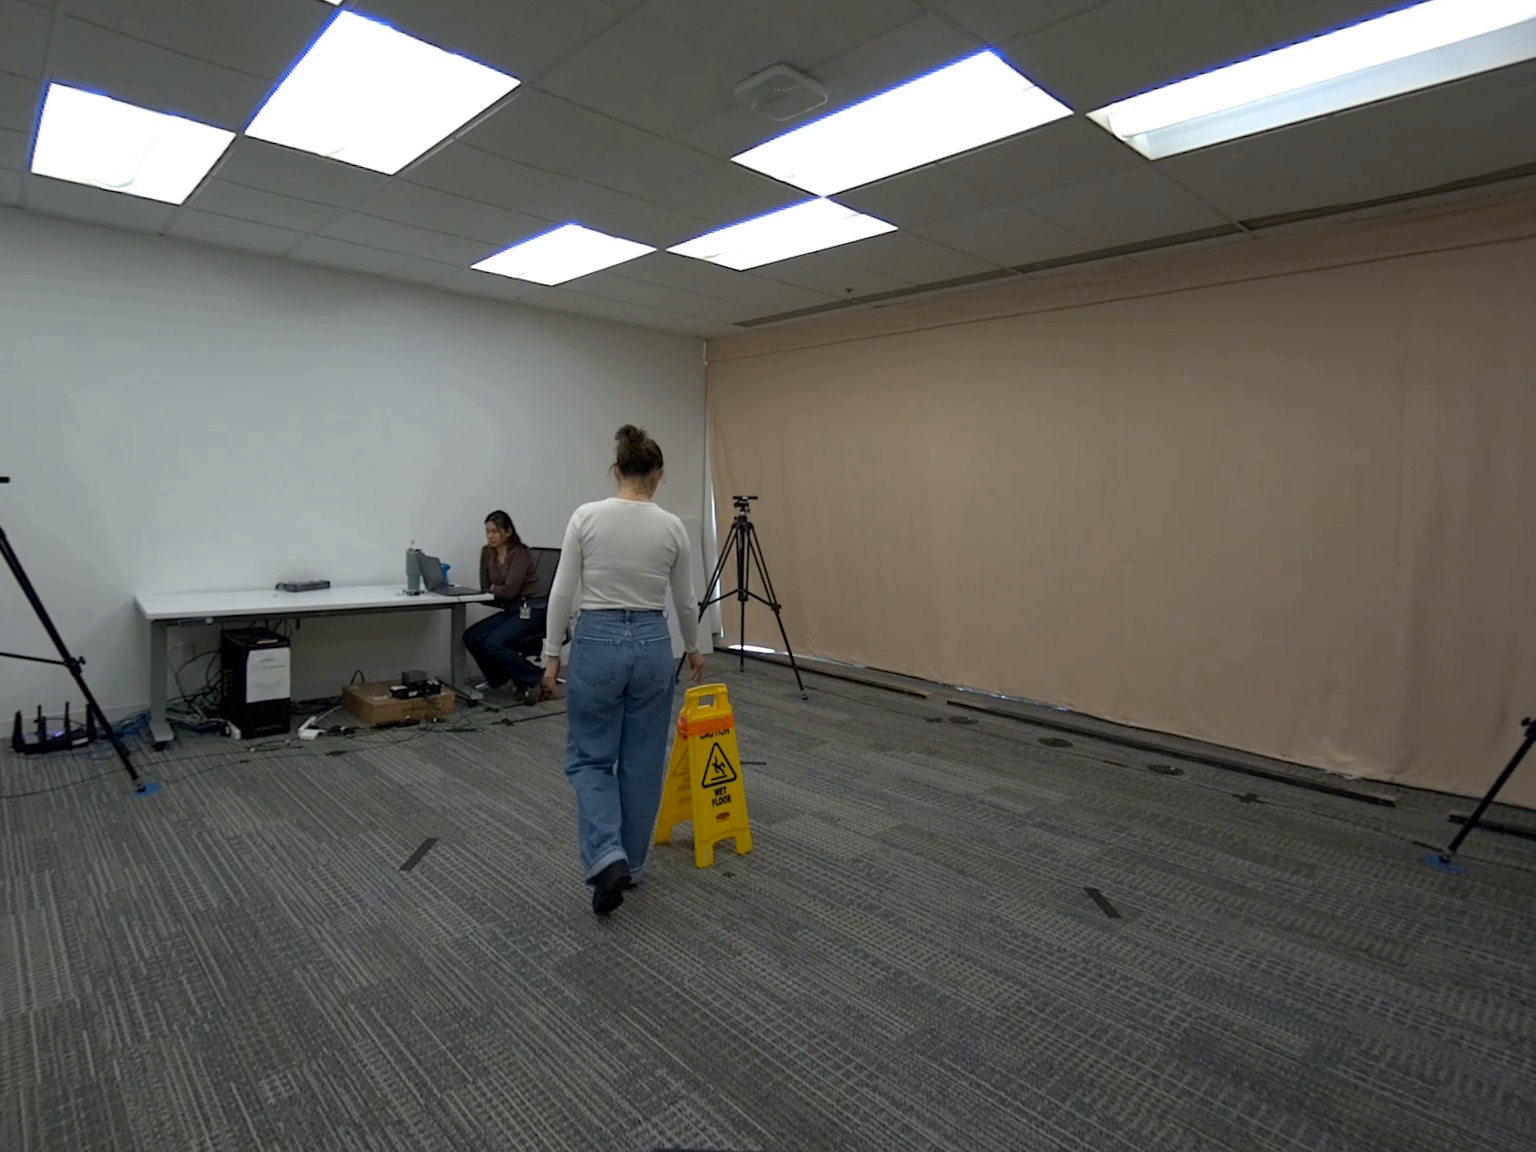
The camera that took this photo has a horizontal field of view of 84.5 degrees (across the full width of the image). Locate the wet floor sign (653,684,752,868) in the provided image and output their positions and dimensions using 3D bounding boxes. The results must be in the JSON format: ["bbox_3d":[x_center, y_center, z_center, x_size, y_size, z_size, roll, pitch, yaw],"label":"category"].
[{"bbox_3d":[-0.260,0.756,3.325,0.276,0.645,0.297,-1,4,-44],"label":"wet floor sign"}]
